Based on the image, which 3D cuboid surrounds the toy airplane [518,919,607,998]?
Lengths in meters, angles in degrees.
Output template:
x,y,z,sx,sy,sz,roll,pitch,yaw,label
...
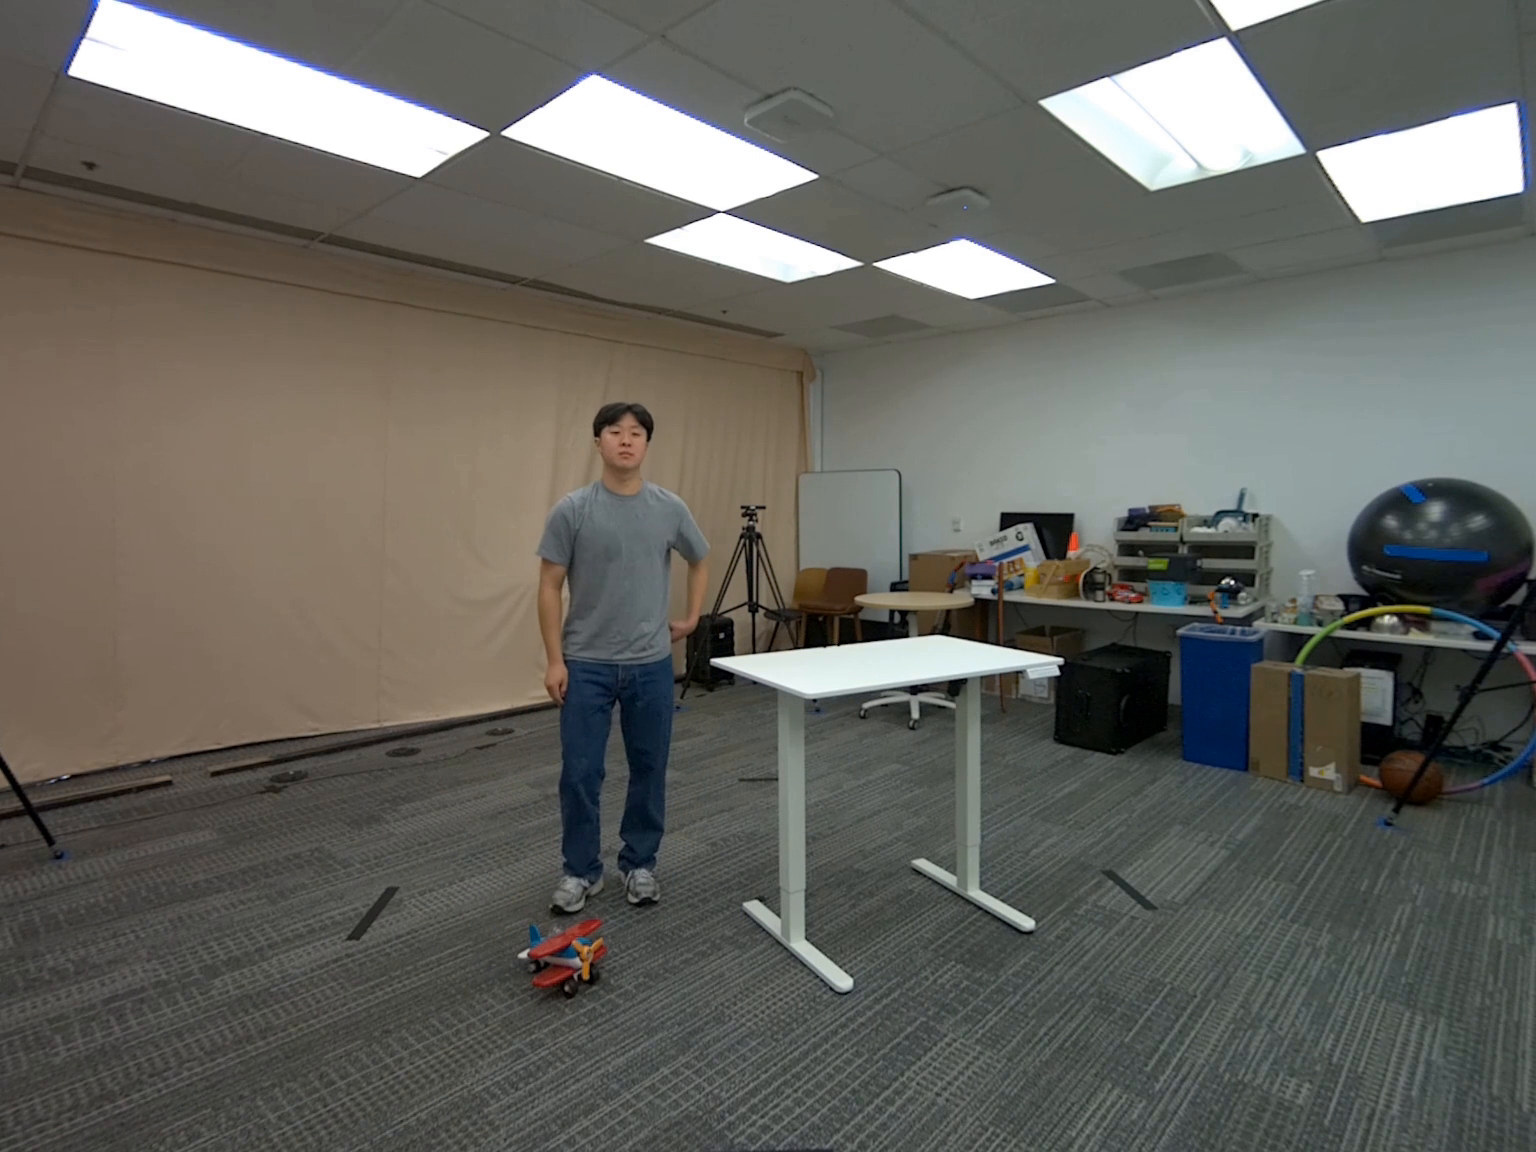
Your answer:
x,y,z,sx,sy,sz,roll,pitch,yaw,label
-0.616,1.113,2.471,0.261,0.156,0.249,2,4,7,toy airplane
